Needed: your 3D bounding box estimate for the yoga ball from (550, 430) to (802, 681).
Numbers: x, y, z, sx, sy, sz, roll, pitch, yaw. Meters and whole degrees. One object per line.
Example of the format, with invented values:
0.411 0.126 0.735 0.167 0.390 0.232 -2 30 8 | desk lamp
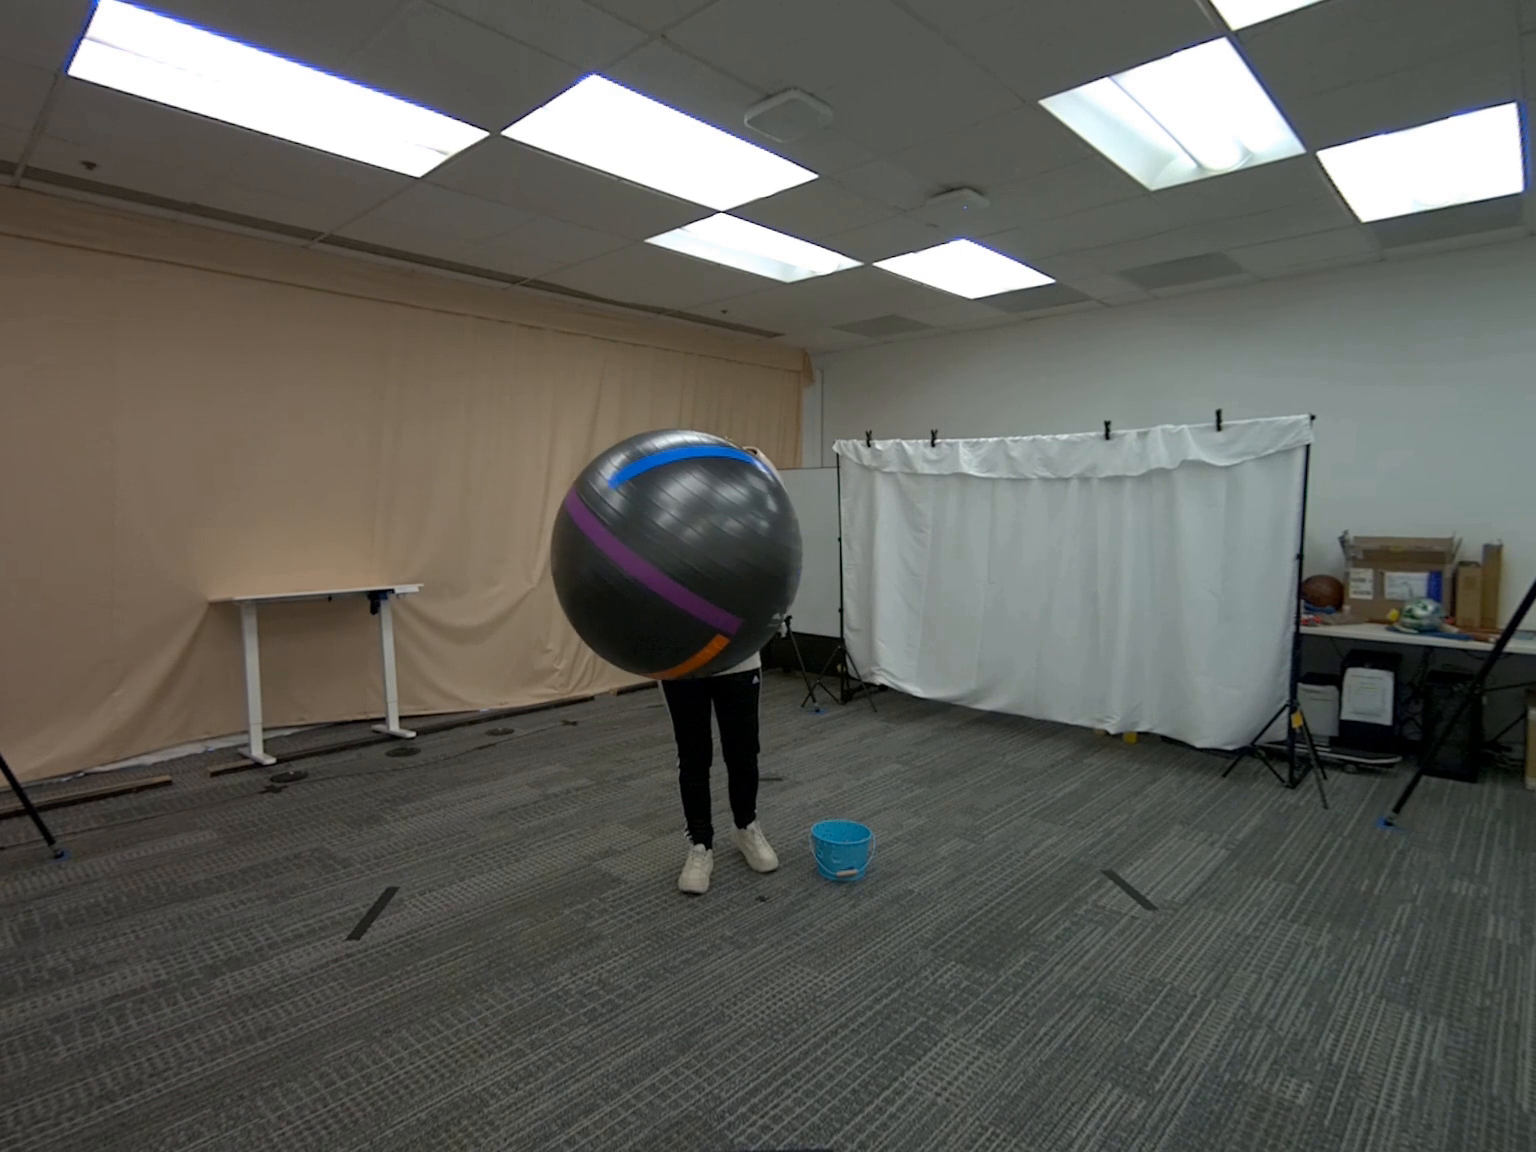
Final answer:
-0.270 -0.060 2.556 0.757 0.756 0.761 0 4 -2 | yoga ball
